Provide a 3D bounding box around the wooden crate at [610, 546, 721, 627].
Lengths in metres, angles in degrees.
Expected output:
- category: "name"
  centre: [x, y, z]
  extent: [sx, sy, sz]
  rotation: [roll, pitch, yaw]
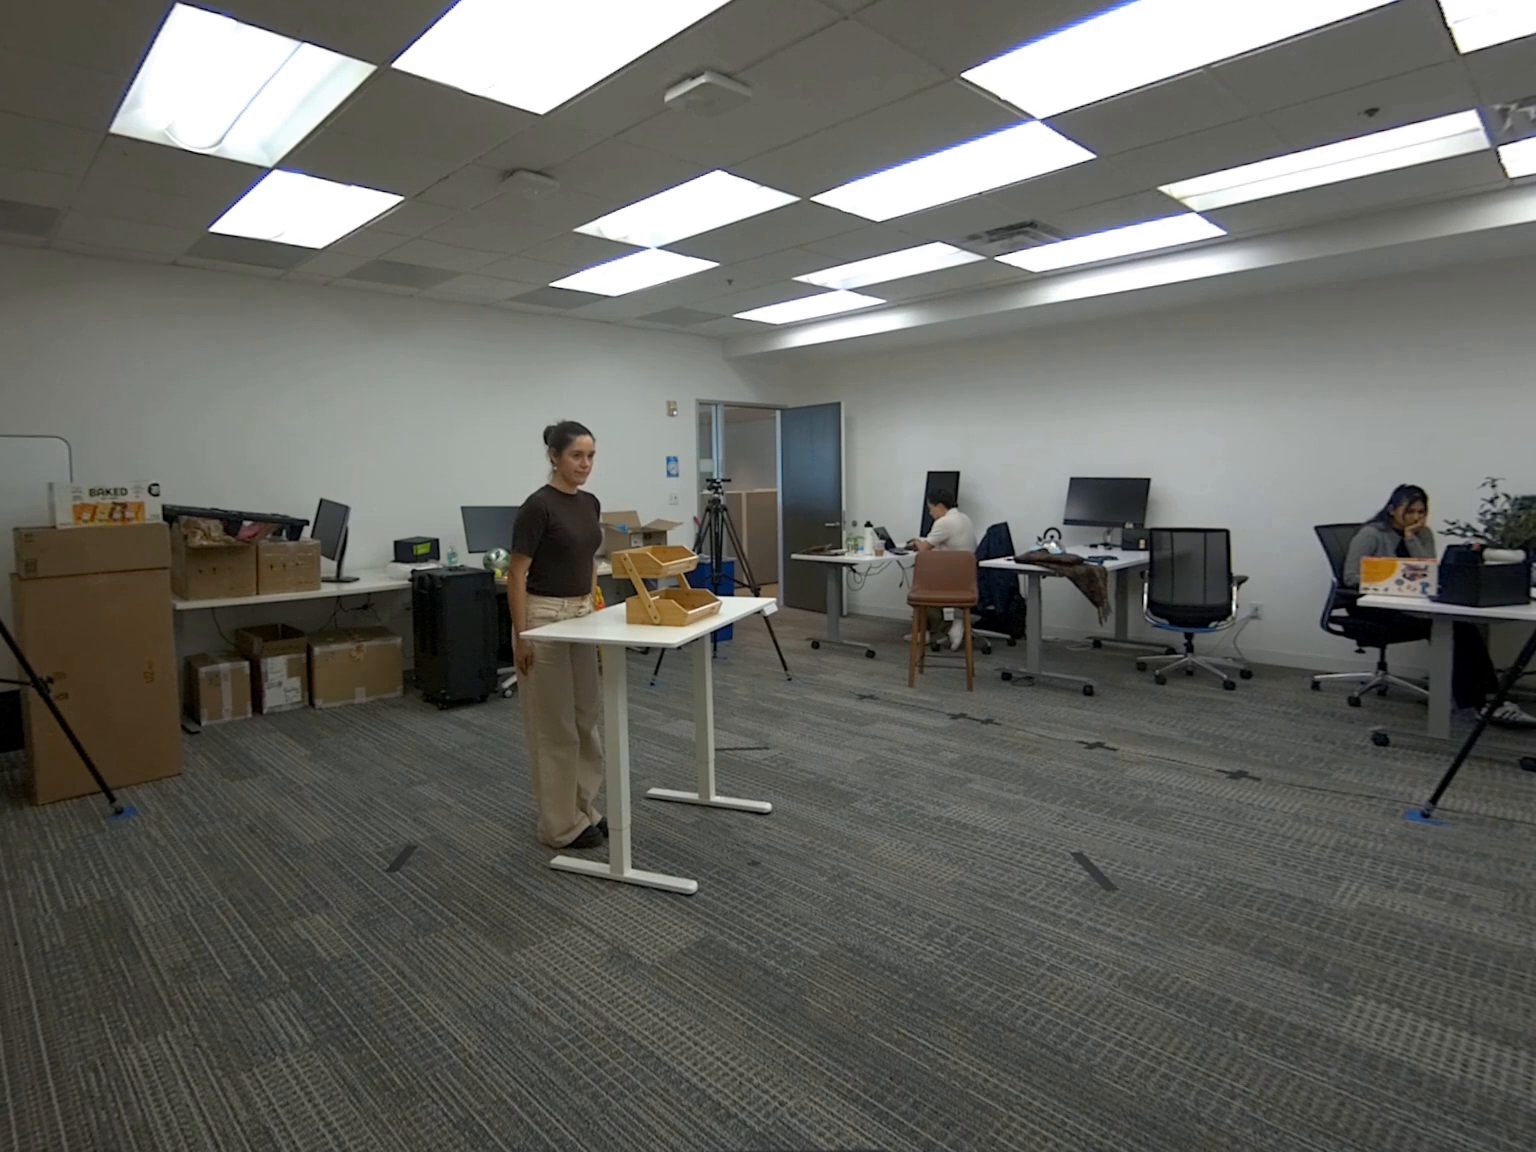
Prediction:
- category: "wooden crate"
  centre: [-0.370, 0.028, 3.181]
  extent: [0.308, 0.272, 0.319]
  rotation: [0, 5, 22]
